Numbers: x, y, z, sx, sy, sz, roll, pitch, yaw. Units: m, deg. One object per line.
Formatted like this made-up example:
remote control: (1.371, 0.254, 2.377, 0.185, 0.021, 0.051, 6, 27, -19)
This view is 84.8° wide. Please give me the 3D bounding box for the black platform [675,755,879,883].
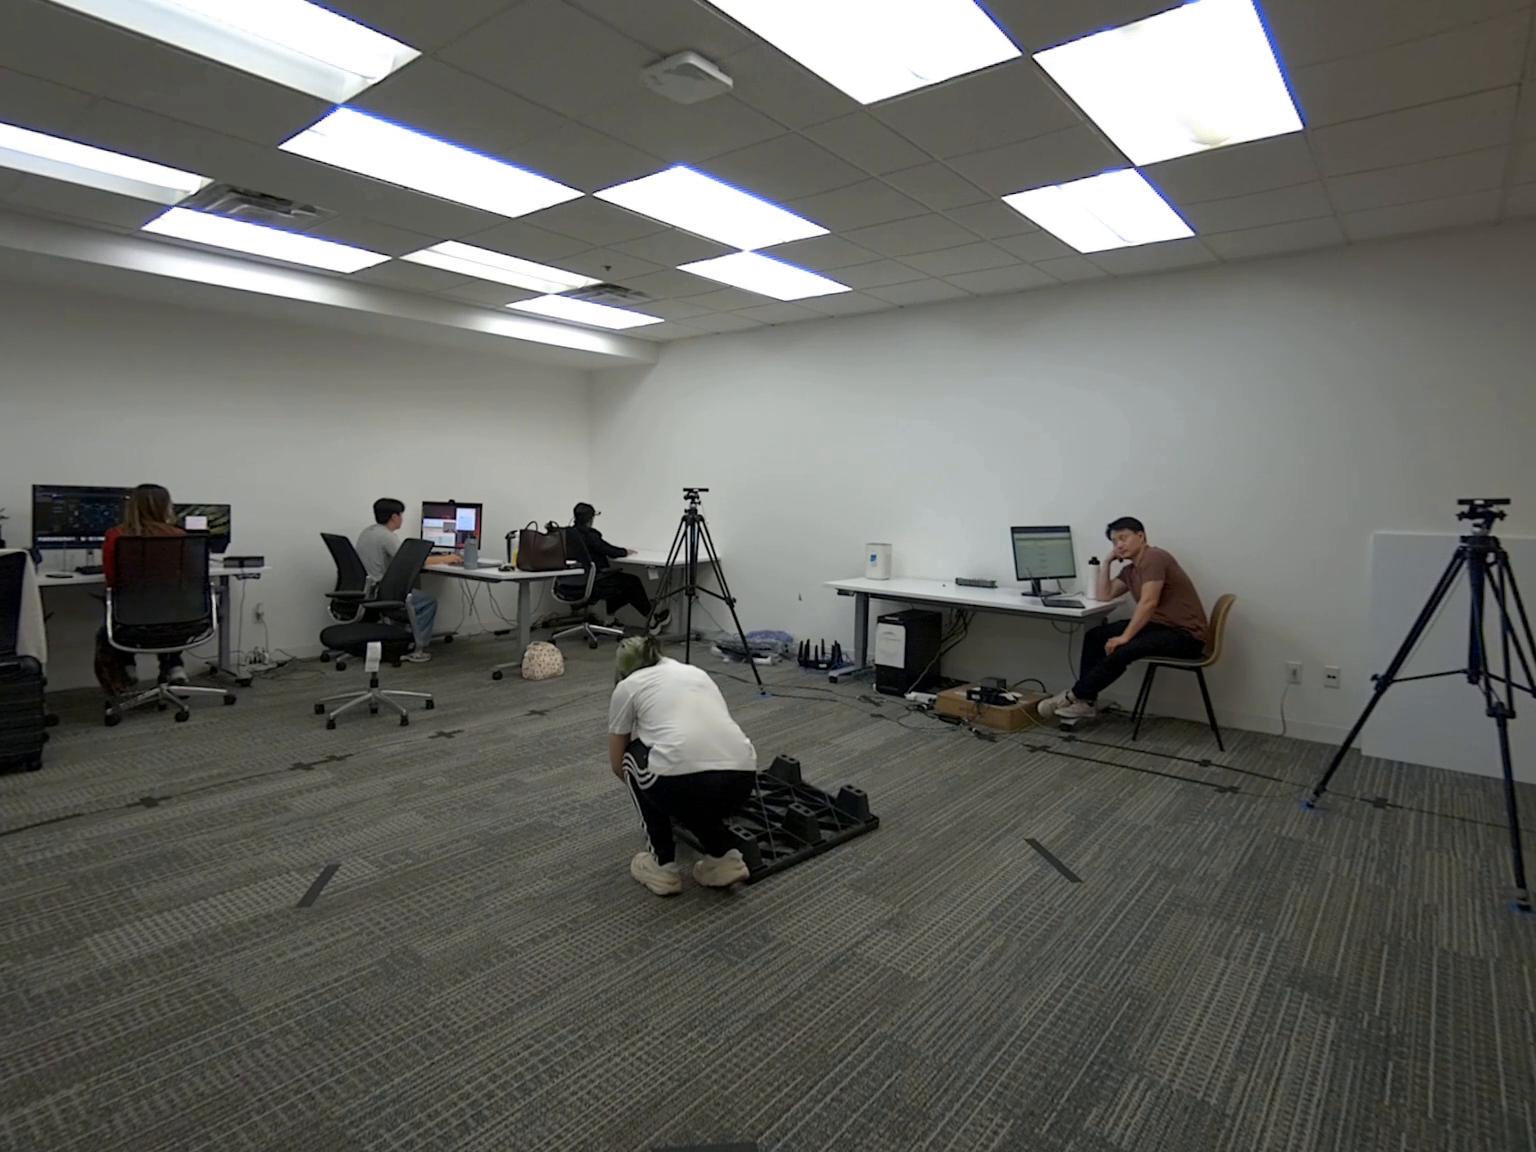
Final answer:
black platform: (-0.016, 0.937, 3.455, 0.628, 0.142, 0.781, 14, 13, 42)
